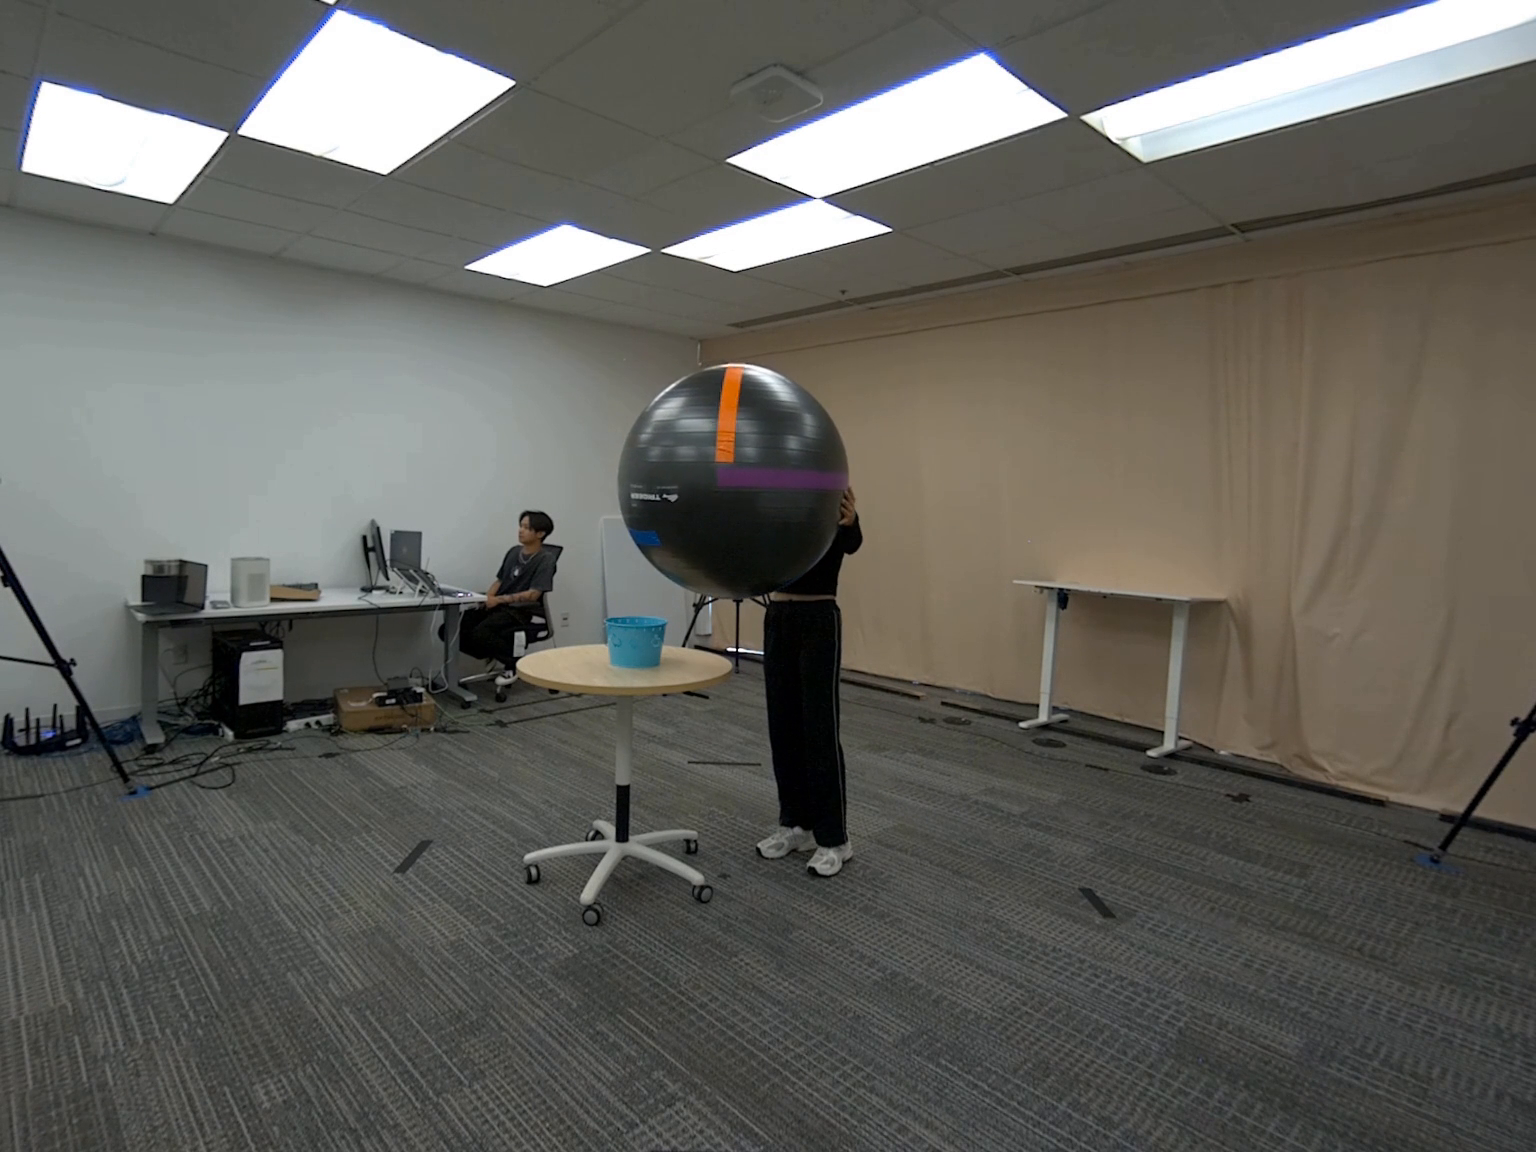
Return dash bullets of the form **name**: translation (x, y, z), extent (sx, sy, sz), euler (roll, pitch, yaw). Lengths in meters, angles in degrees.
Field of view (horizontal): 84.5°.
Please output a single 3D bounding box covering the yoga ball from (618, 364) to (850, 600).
- **yoga ball**: translation (-0.121, -0.302, 2.747), extent (0.757, 0.756, 0.761), euler (1, 4, -1)
